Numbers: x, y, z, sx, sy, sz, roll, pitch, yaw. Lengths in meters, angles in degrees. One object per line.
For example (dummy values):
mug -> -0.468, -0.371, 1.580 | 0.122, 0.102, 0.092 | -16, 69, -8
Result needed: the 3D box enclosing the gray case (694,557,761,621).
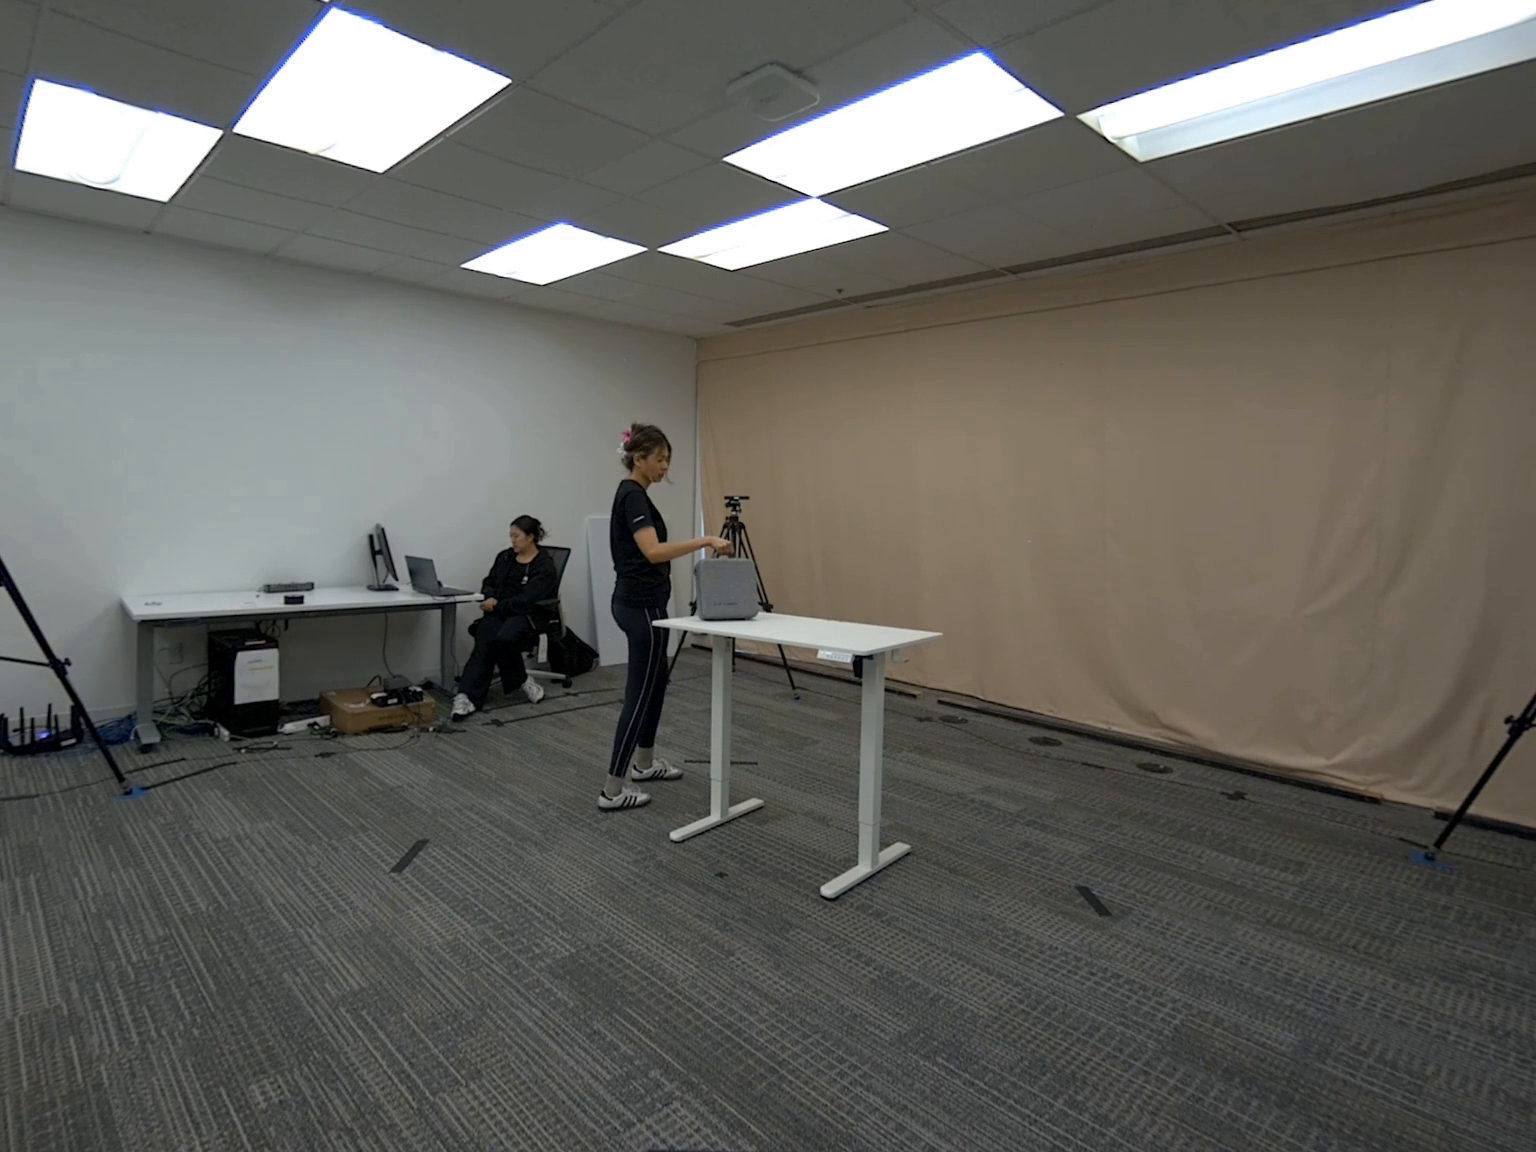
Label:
gray case -> -0.185, 0.048, 3.553 | 0.254, 0.262, 0.105 | -1, -7, -17
